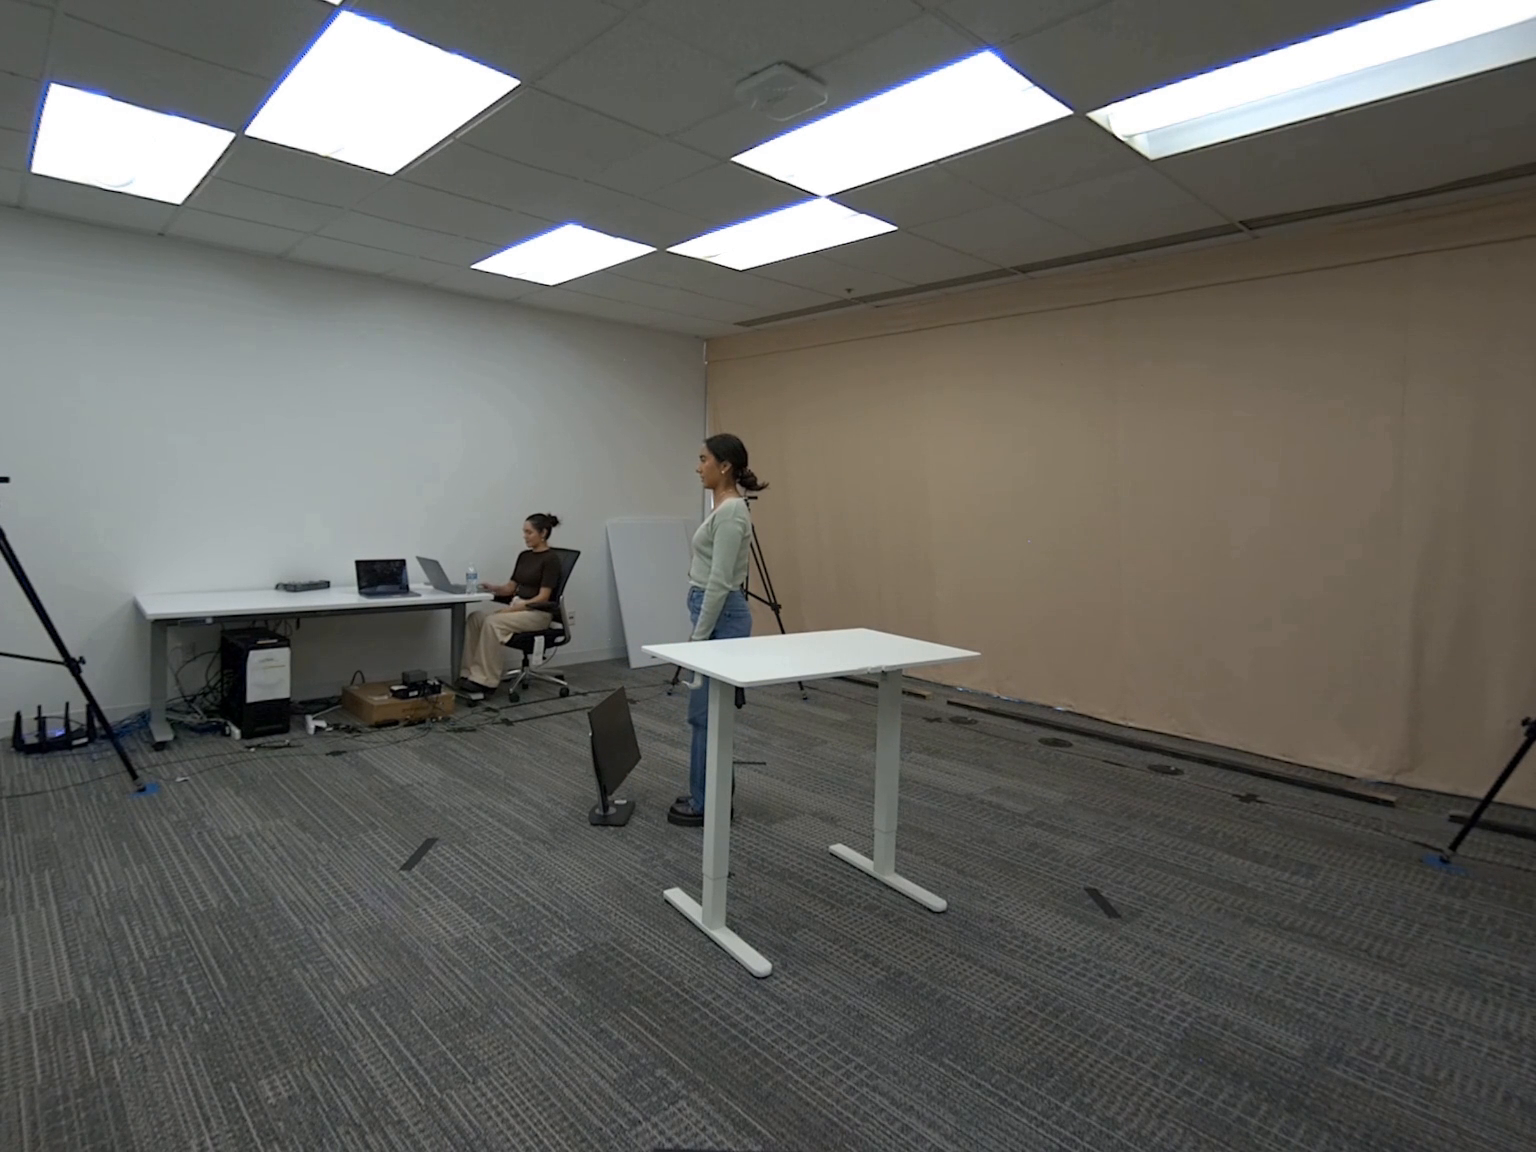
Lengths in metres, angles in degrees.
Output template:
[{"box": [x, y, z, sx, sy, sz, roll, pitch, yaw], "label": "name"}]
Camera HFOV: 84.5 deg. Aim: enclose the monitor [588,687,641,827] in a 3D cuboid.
[{"box": [-0.684, 0.783, 3.662, 0.187, 0.522, 0.538, 0, 3, 2], "label": "monitor"}]
